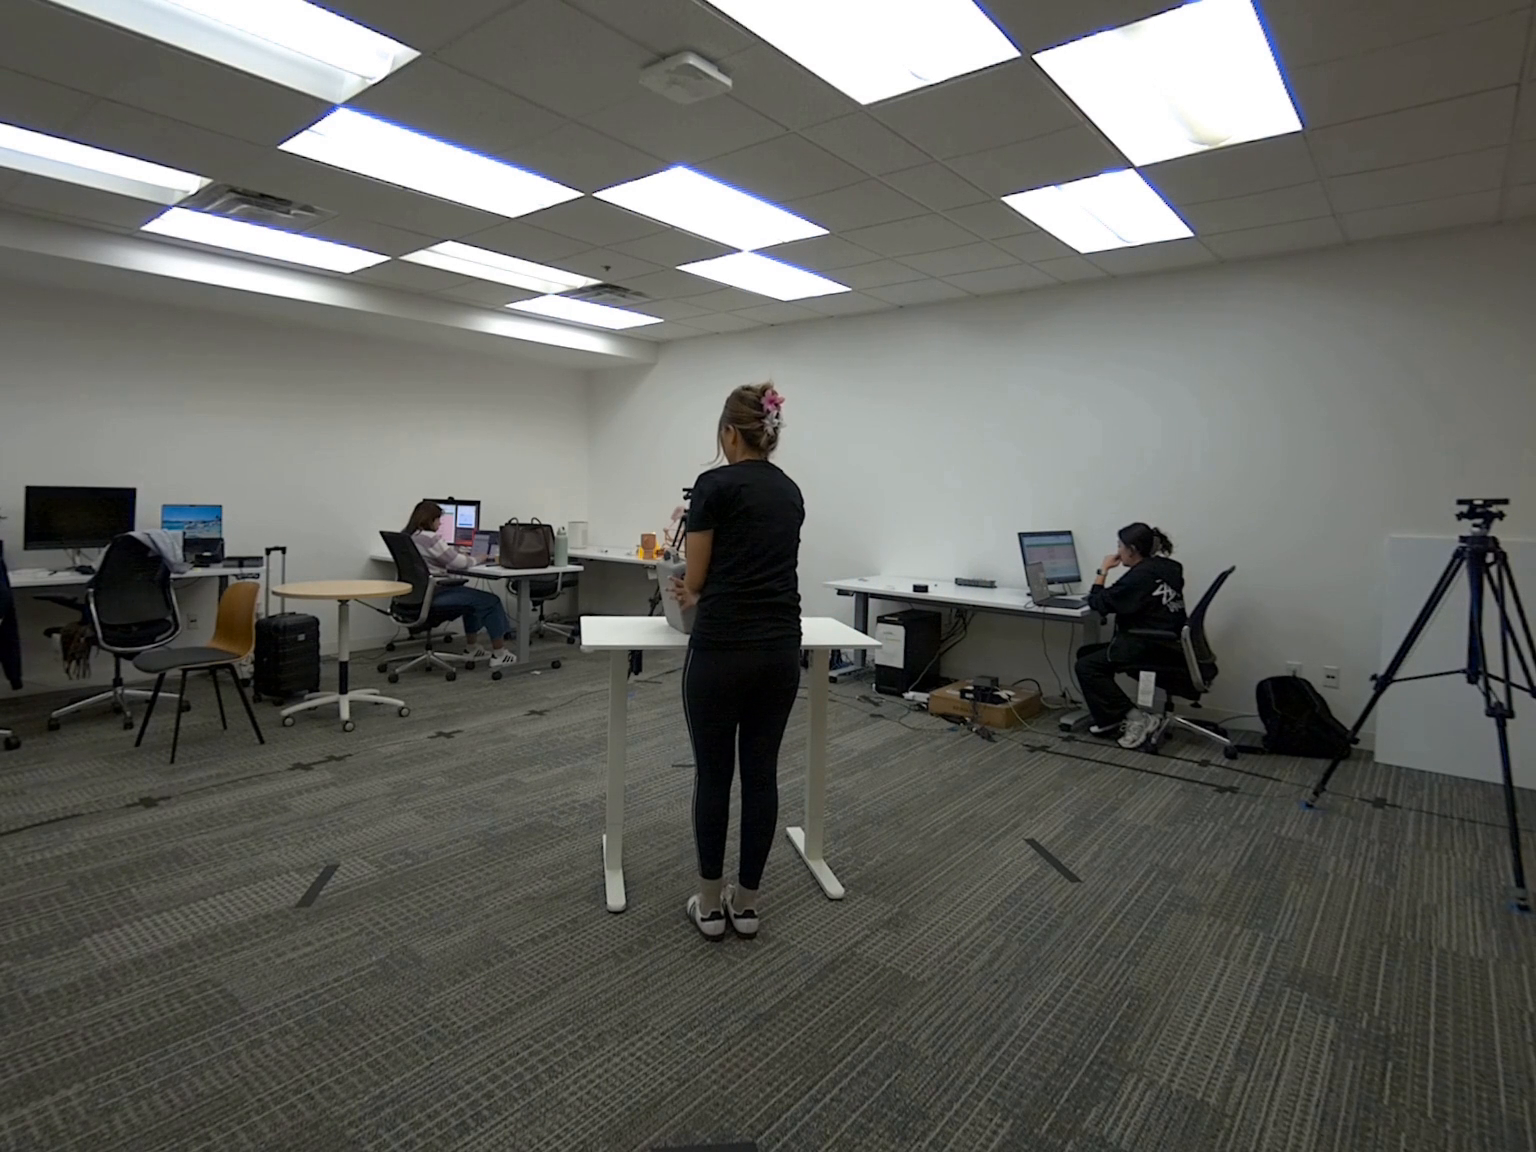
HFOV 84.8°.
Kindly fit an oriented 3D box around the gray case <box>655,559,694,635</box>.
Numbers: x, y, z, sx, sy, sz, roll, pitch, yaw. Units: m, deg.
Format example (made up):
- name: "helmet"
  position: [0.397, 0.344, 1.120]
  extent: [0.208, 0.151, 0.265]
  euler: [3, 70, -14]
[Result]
- name: "gray case"
  position: [-0.321, 0.062, 3.055]
  extent: [0.103, 0.259, 0.263]
  euler: [-13, 8, -21]
